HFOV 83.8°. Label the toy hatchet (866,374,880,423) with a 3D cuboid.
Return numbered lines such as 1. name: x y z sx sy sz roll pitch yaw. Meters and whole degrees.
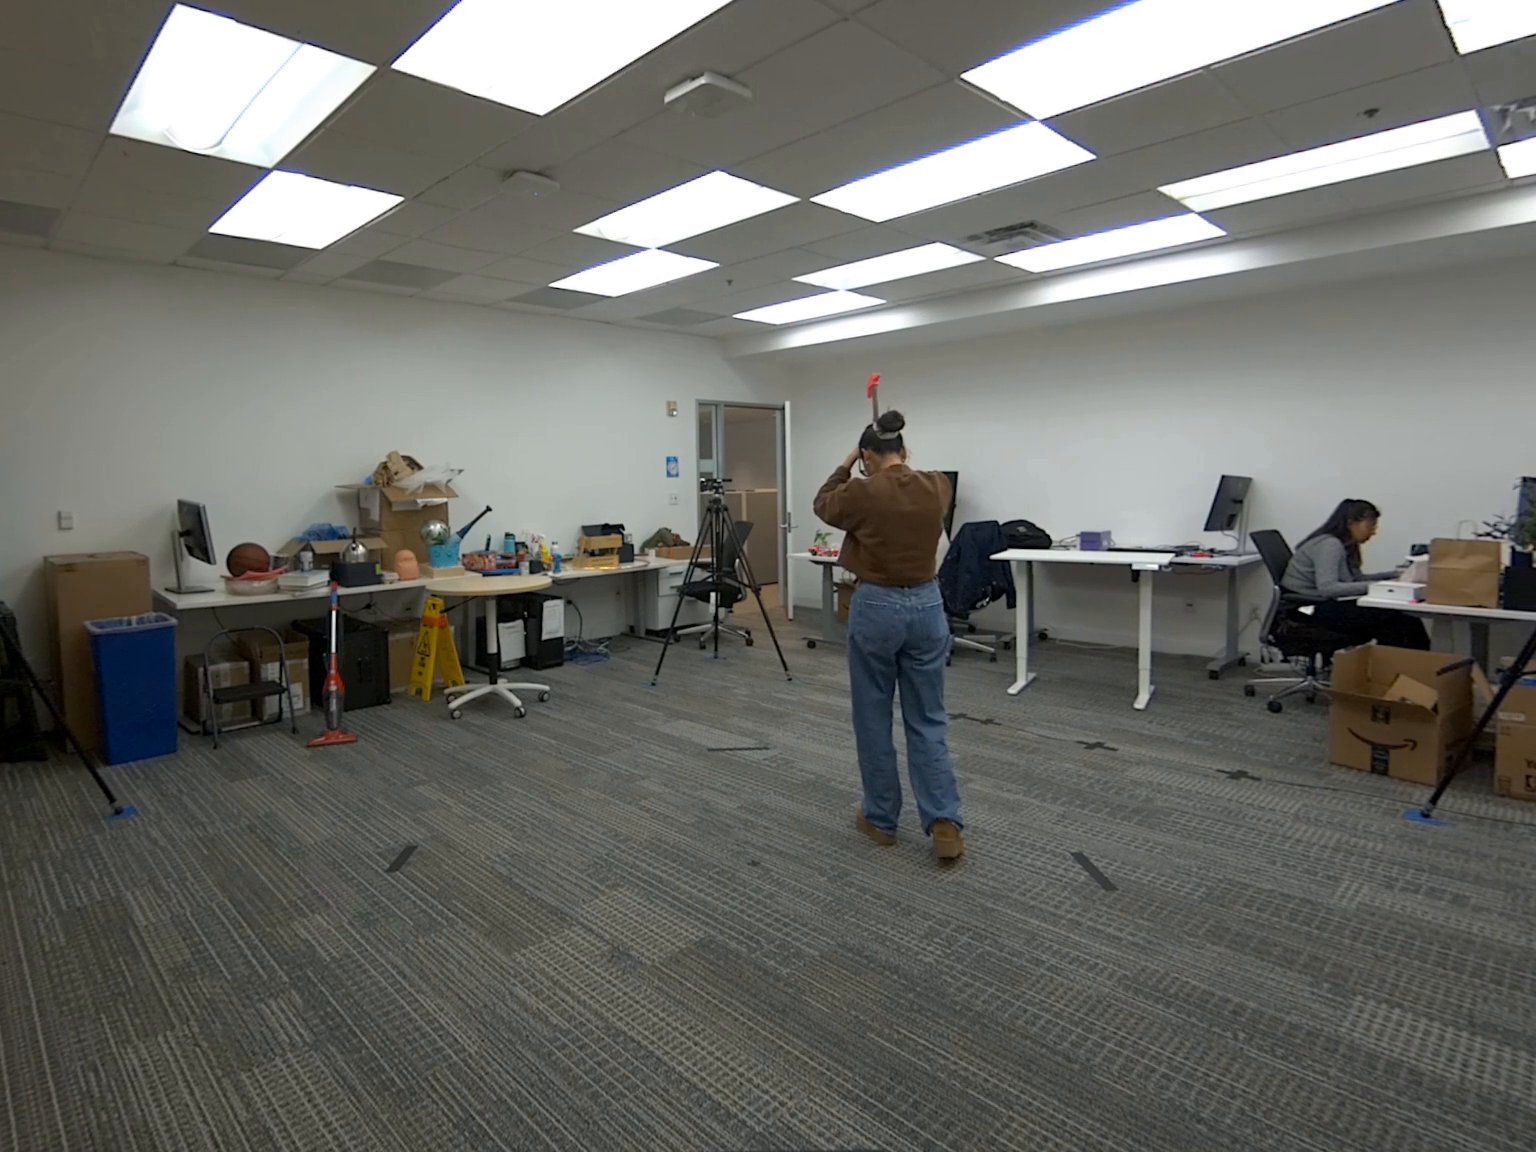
1. toy hatchet: 0.427 -0.681 3.439 0.029 0.269 0.133 1 3 -13
